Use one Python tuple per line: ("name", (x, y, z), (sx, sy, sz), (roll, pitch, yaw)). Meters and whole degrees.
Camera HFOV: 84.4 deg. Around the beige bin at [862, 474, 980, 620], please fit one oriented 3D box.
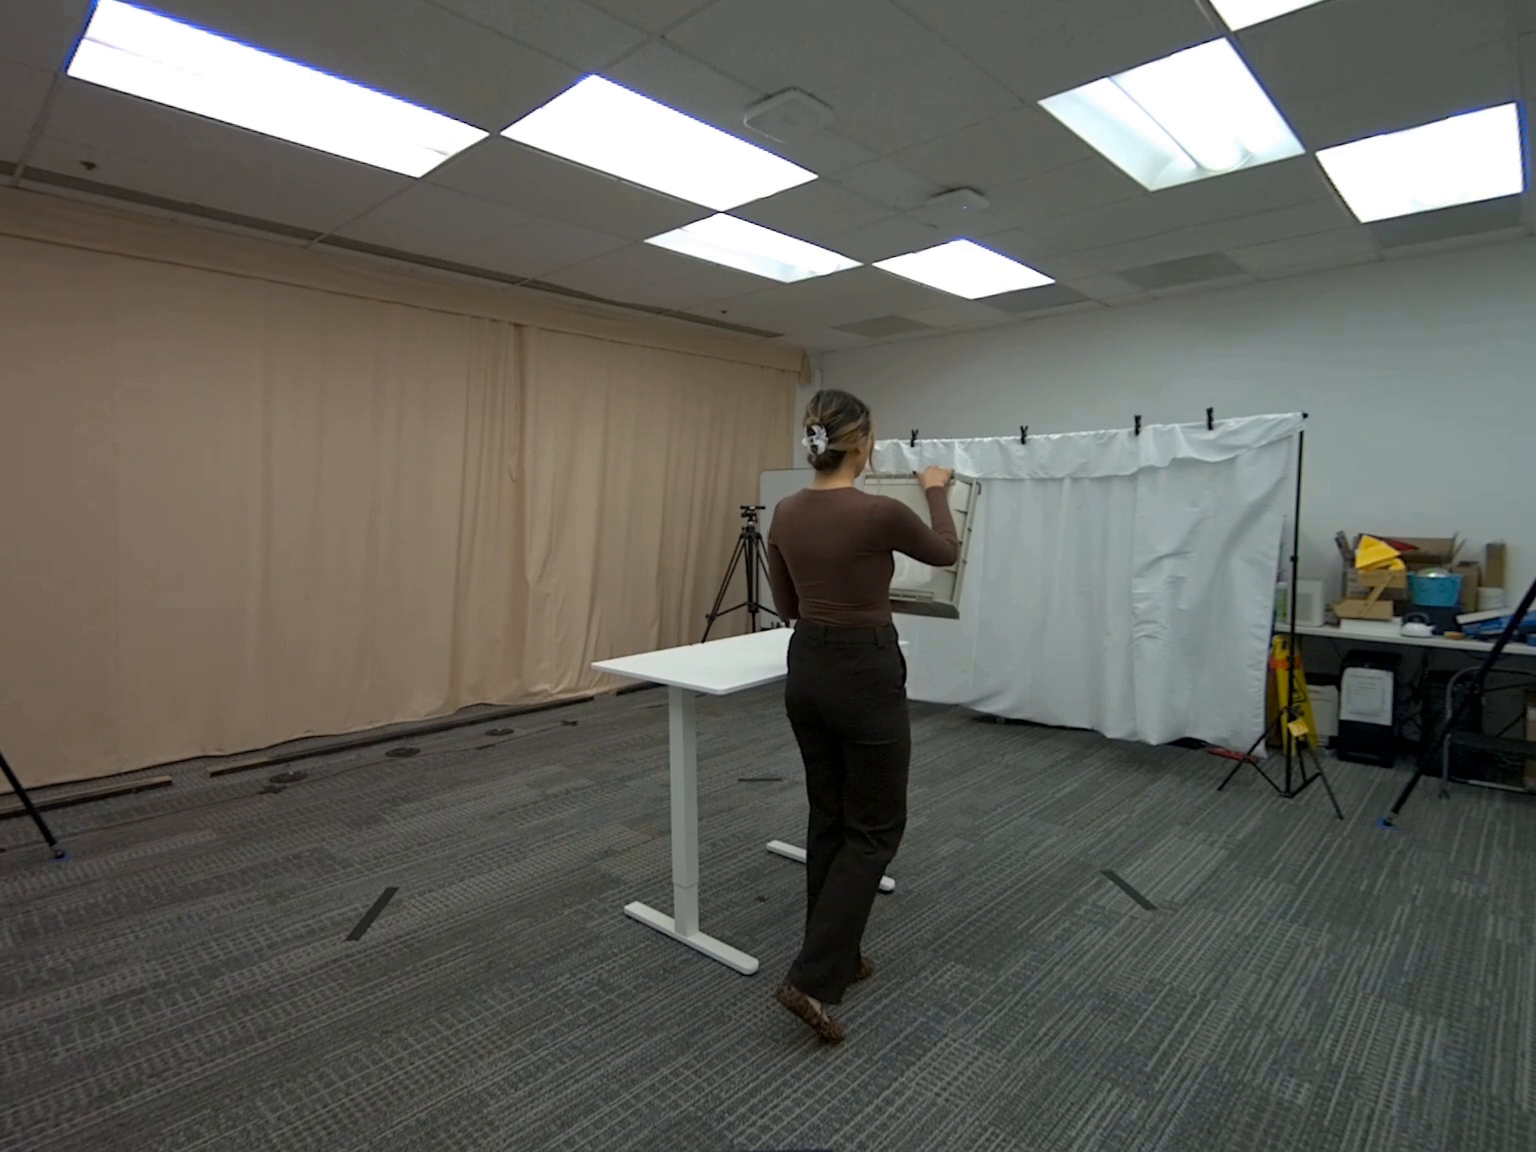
("beige bin", (0.470, -0.096, 2.682), (0.389, 0.424, 0.182), (4, -15, 32))
